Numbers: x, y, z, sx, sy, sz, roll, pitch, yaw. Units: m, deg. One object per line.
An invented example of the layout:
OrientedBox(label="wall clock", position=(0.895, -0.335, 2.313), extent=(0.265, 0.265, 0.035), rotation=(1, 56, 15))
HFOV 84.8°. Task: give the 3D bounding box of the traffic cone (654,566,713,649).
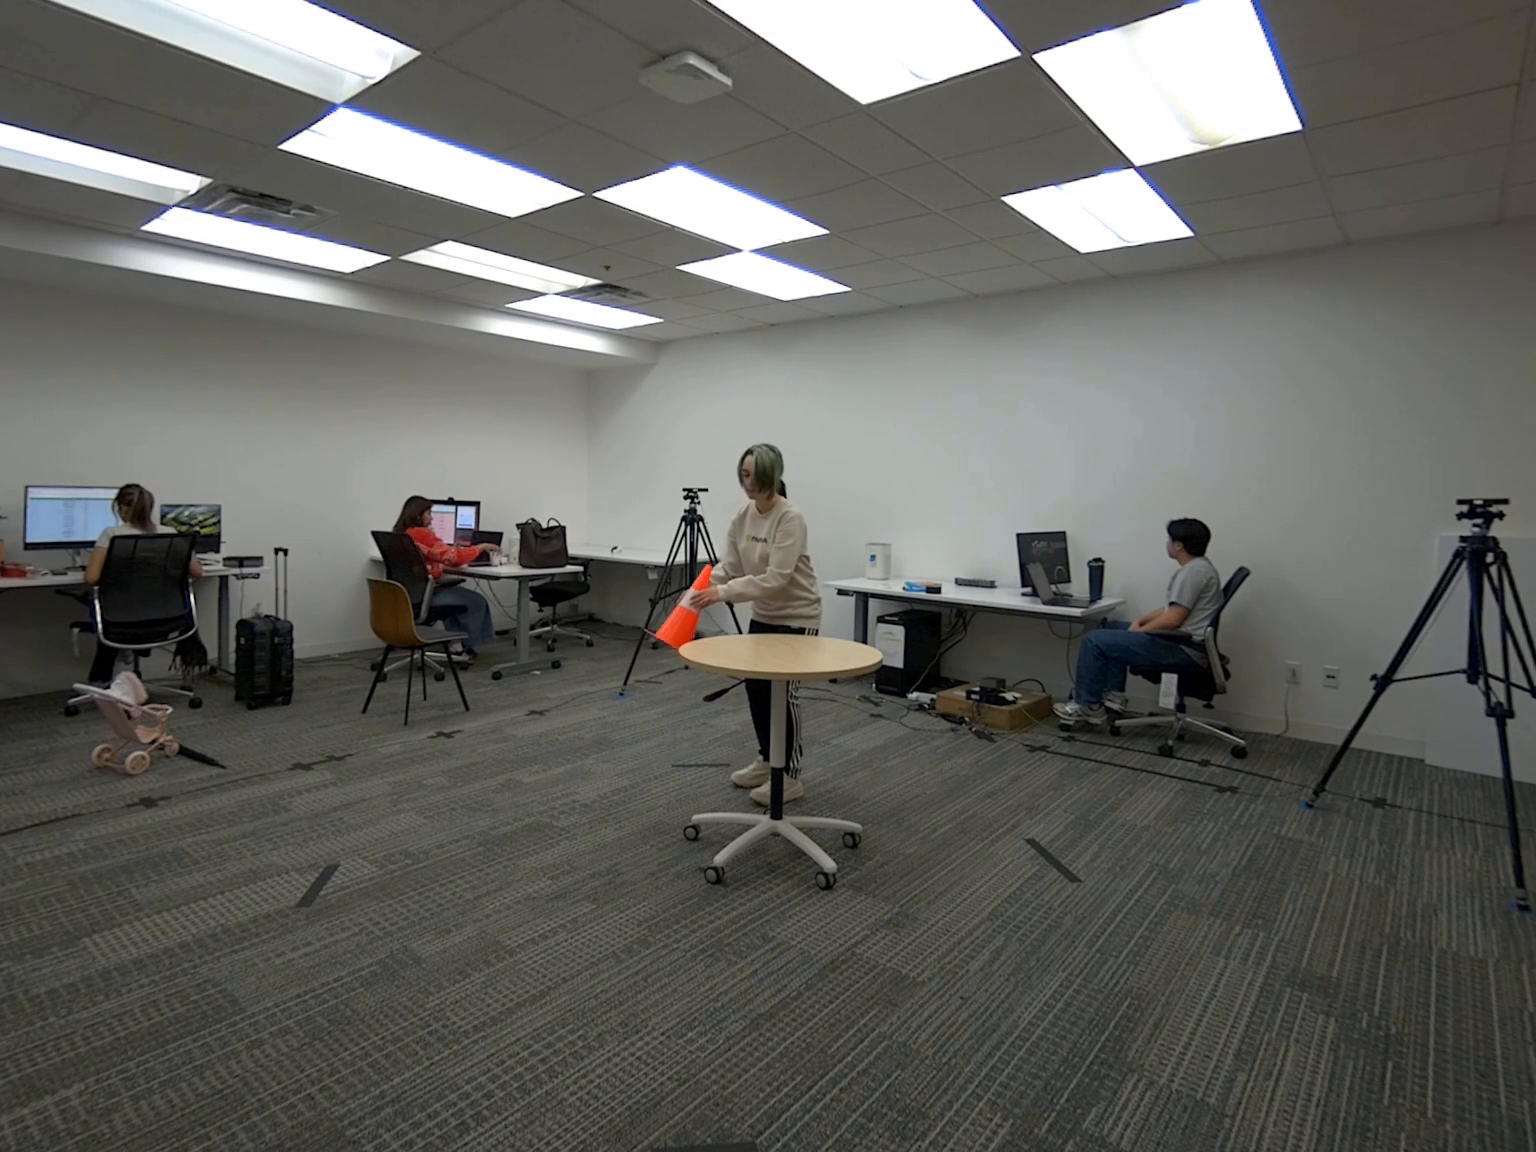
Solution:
OrientedBox(label="traffic cone", position=(-0.350, 0.133, 3.714), extent=(0.195, 0.385, 0.213), rotation=(34, -12, -38))
